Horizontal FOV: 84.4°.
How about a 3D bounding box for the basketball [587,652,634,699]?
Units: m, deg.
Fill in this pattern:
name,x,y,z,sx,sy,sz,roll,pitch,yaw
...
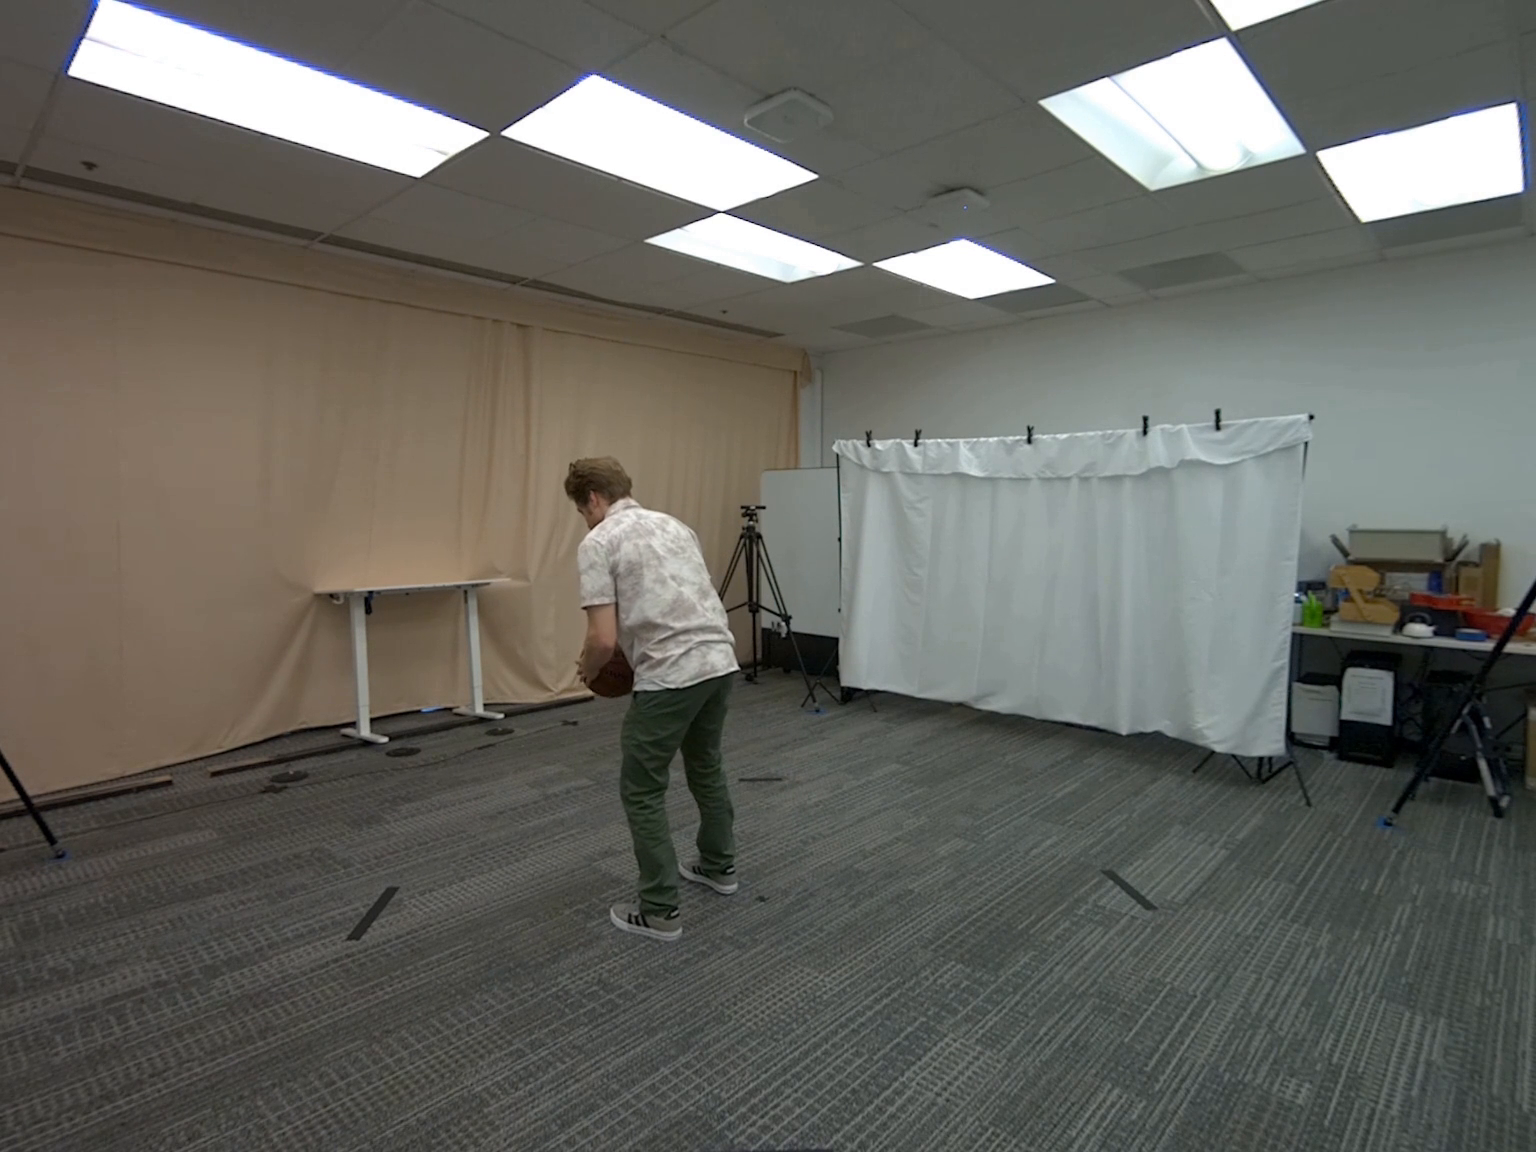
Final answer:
name,x,y,z,sx,sy,sz,roll,pitch,yaw
basketball,-0.569,0.325,3.061,0.236,0.235,0.237,0,4,-2
